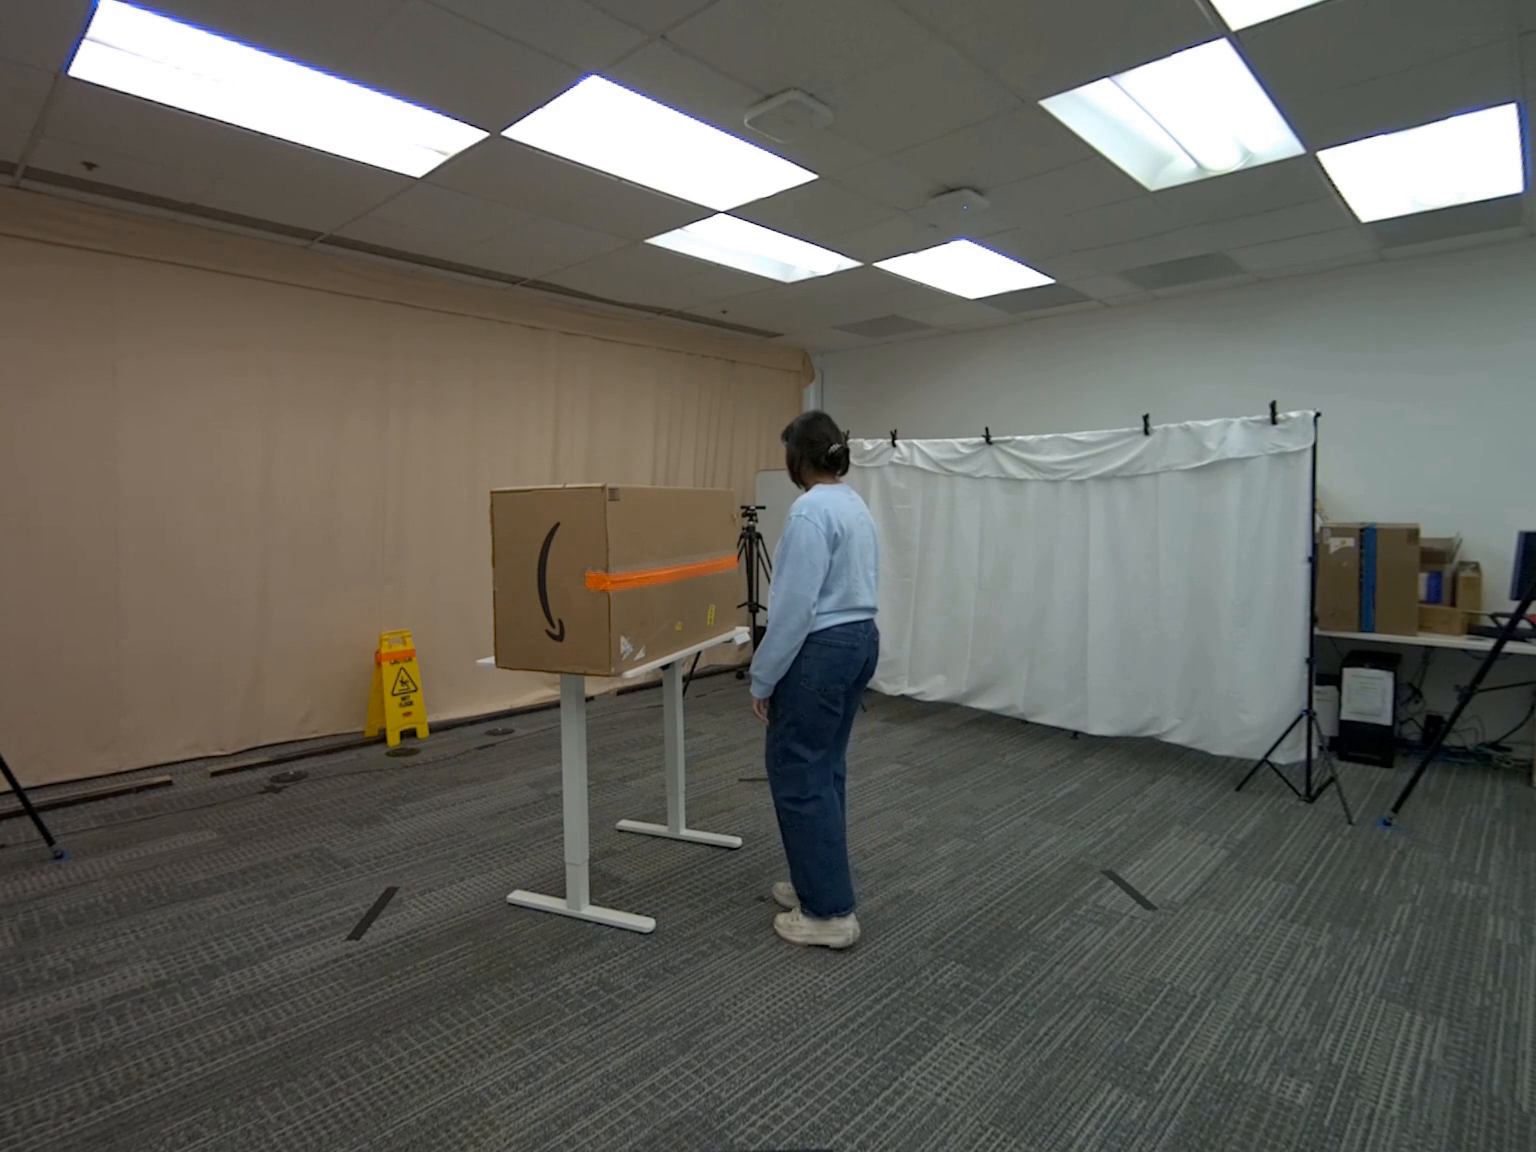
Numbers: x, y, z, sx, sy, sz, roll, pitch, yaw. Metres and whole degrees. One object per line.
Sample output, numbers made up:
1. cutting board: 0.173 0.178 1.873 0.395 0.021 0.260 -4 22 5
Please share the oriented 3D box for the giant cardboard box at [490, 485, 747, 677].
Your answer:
1. giant cardboard box: -0.504 -0.026 3.067 0.436 0.576 1.004 1 5 22
